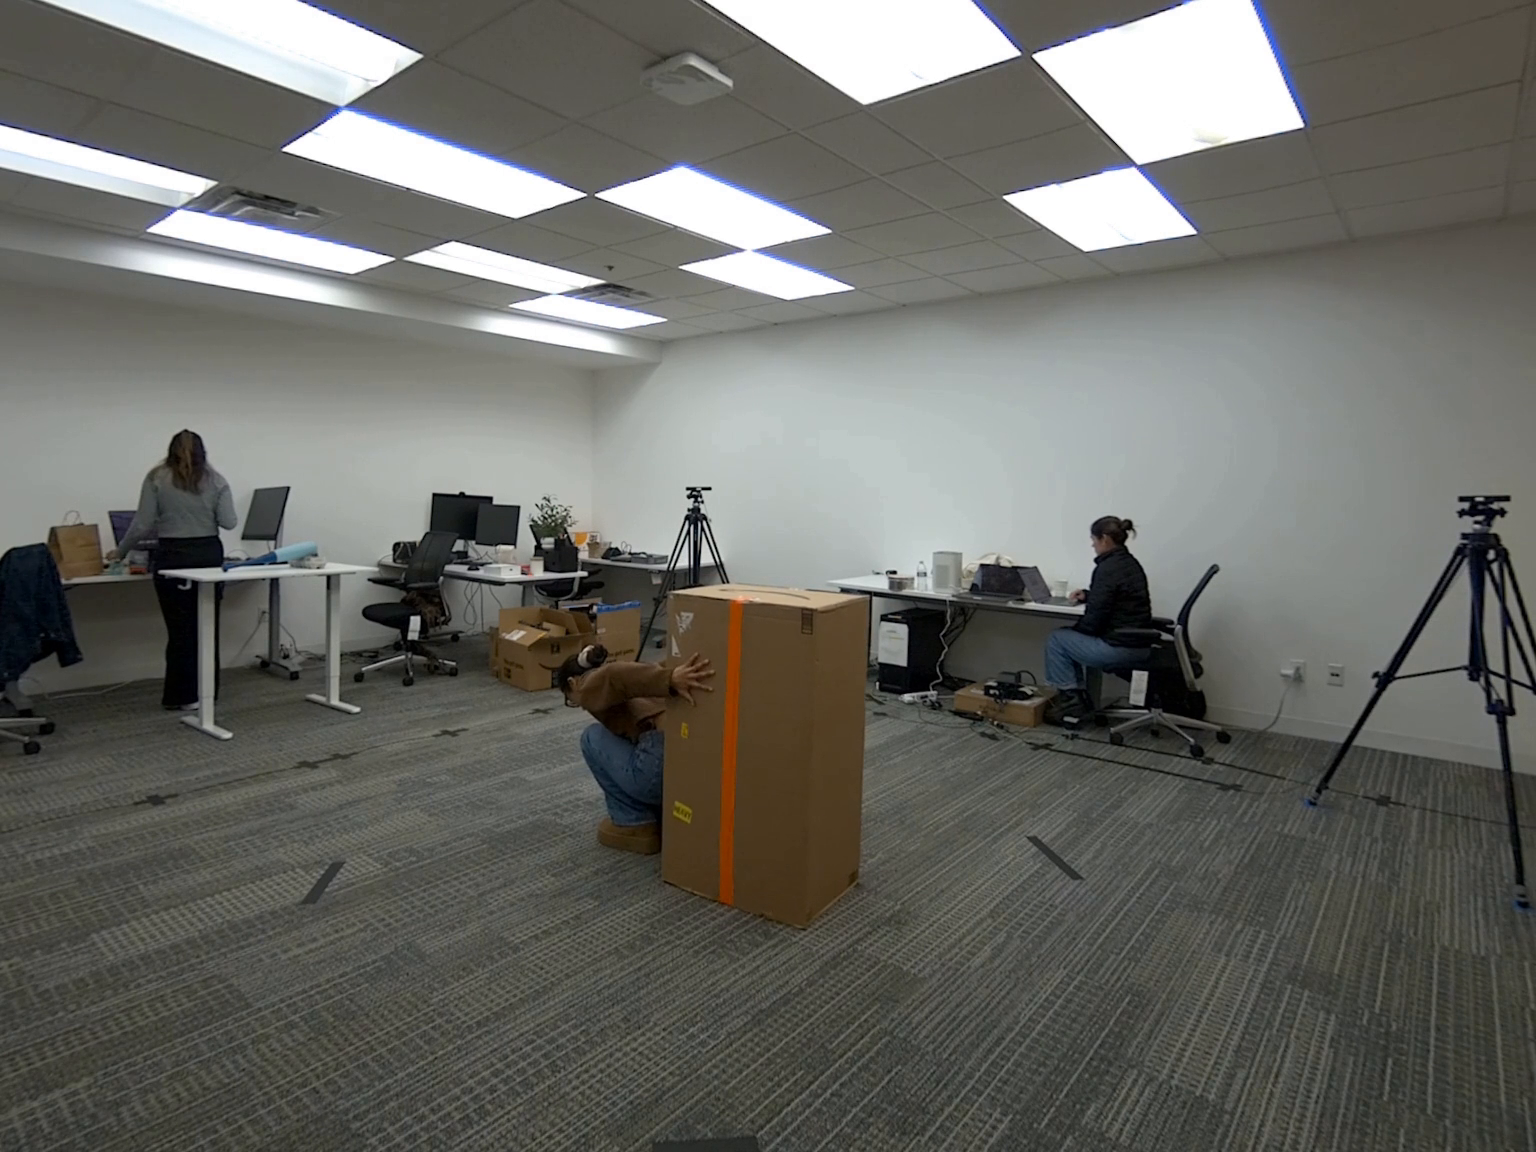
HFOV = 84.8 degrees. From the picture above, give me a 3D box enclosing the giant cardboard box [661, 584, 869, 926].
[{"bbox_3d":[-0.018,0.573,2.978,0.602,1.025,0.434,3,3,32],"label":"giant cardboard box"}]
